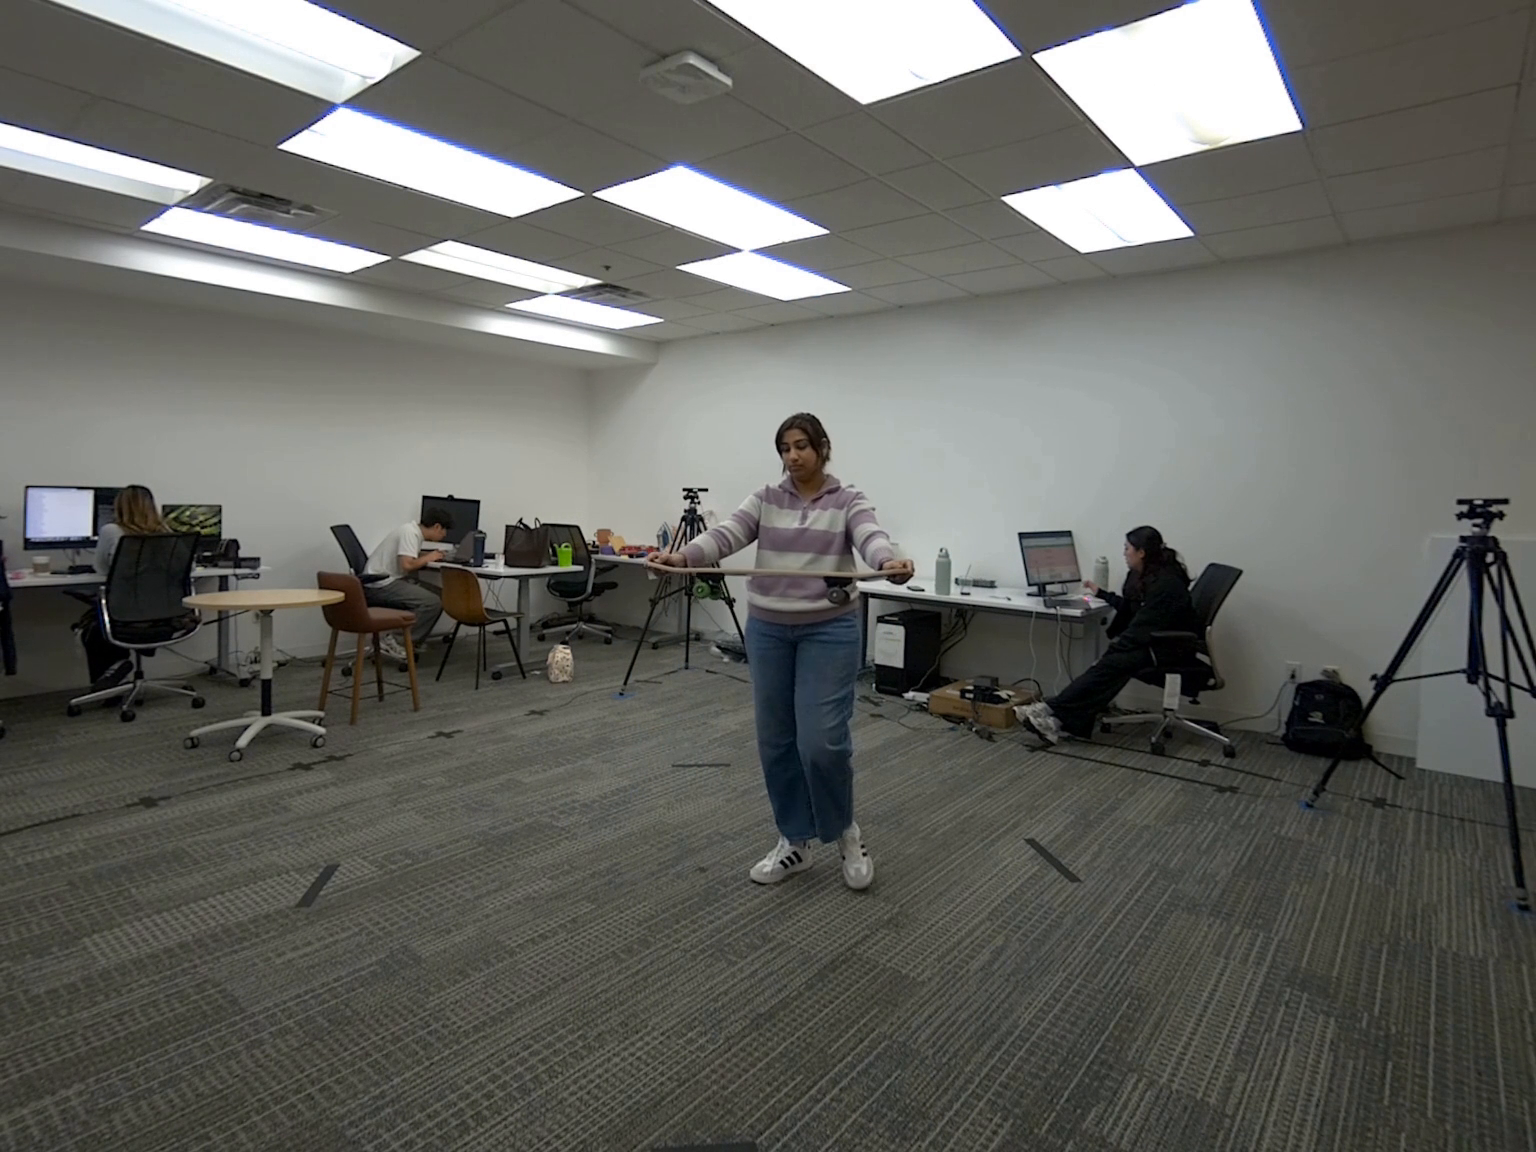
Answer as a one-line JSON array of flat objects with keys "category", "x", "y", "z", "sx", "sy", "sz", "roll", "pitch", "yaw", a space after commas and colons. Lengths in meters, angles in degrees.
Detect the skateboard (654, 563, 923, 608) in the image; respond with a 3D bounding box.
[{"category": "skateboard", "x": 0.060, "y": 0.022, "z": 2.540, "sx": 0.798, "sy": 0.110, "sz": 0.191, "roll": 1, "pitch": 3, "yaw": 15}]
